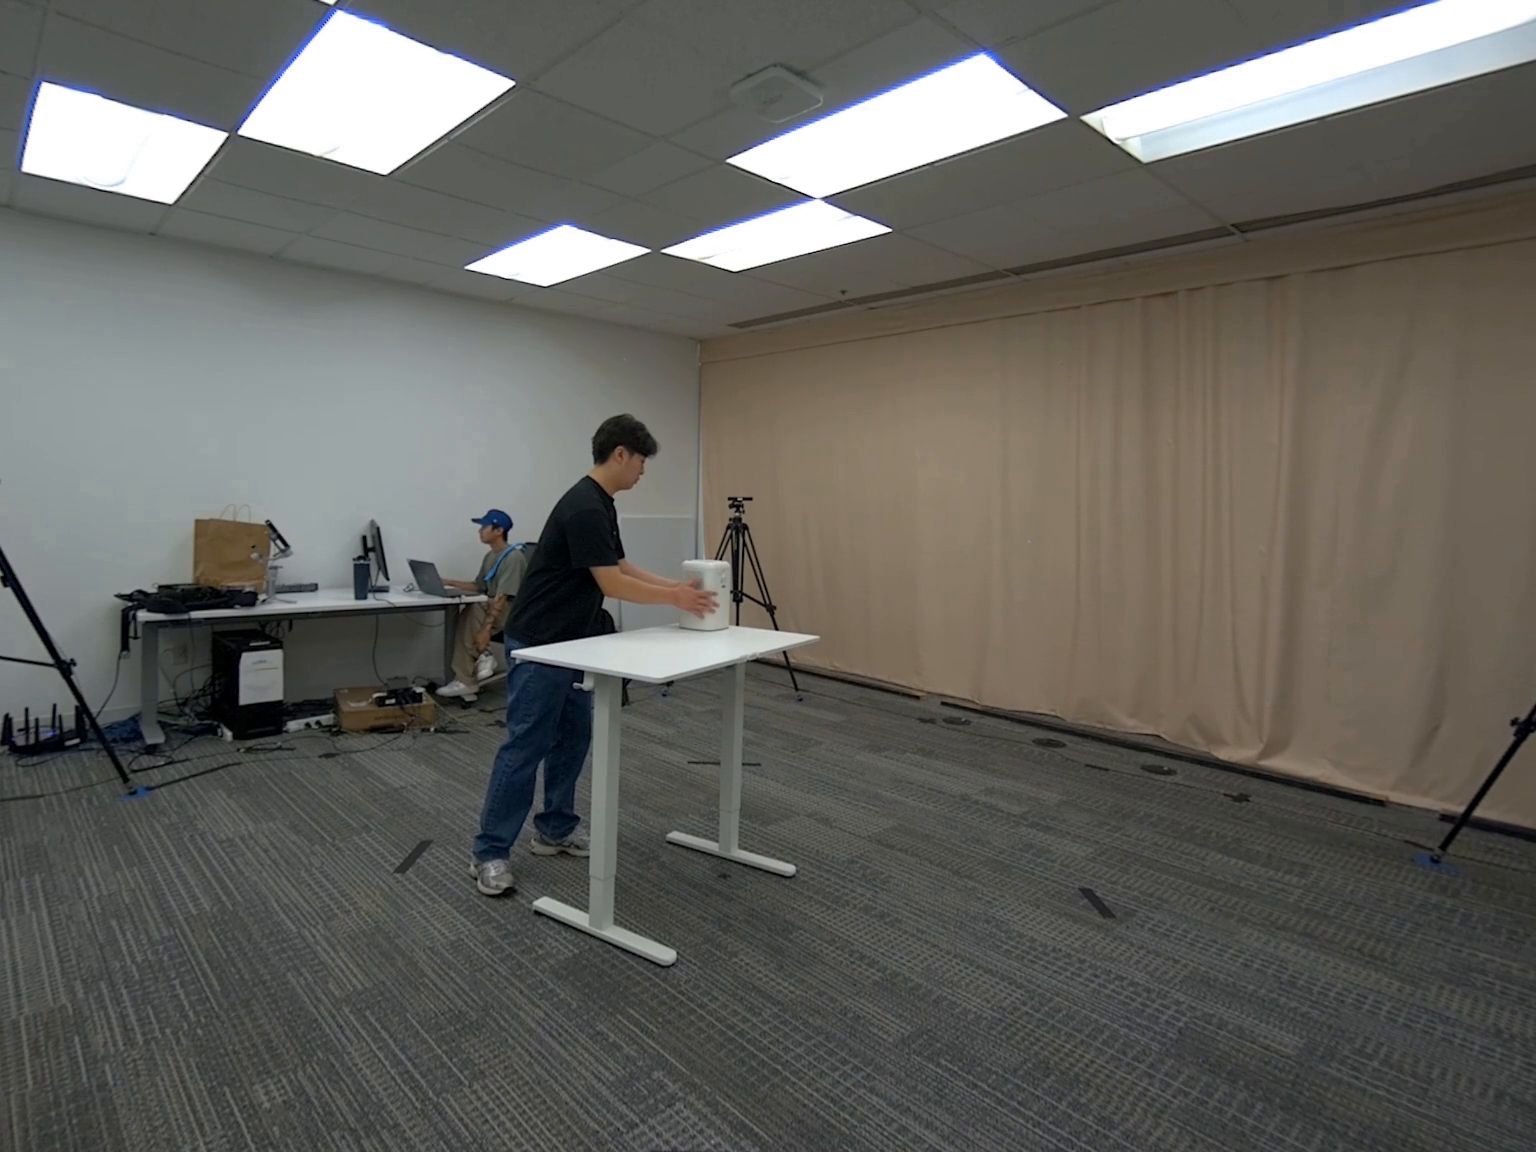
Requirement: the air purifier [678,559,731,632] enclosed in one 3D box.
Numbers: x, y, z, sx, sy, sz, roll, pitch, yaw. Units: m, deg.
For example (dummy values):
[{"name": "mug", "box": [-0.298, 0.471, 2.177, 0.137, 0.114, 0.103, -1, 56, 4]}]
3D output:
[{"name": "air purifier", "box": [-0.257, 0.072, 3.311, 0.175, 0.265, 0.167, 3, 3, 31]}]
